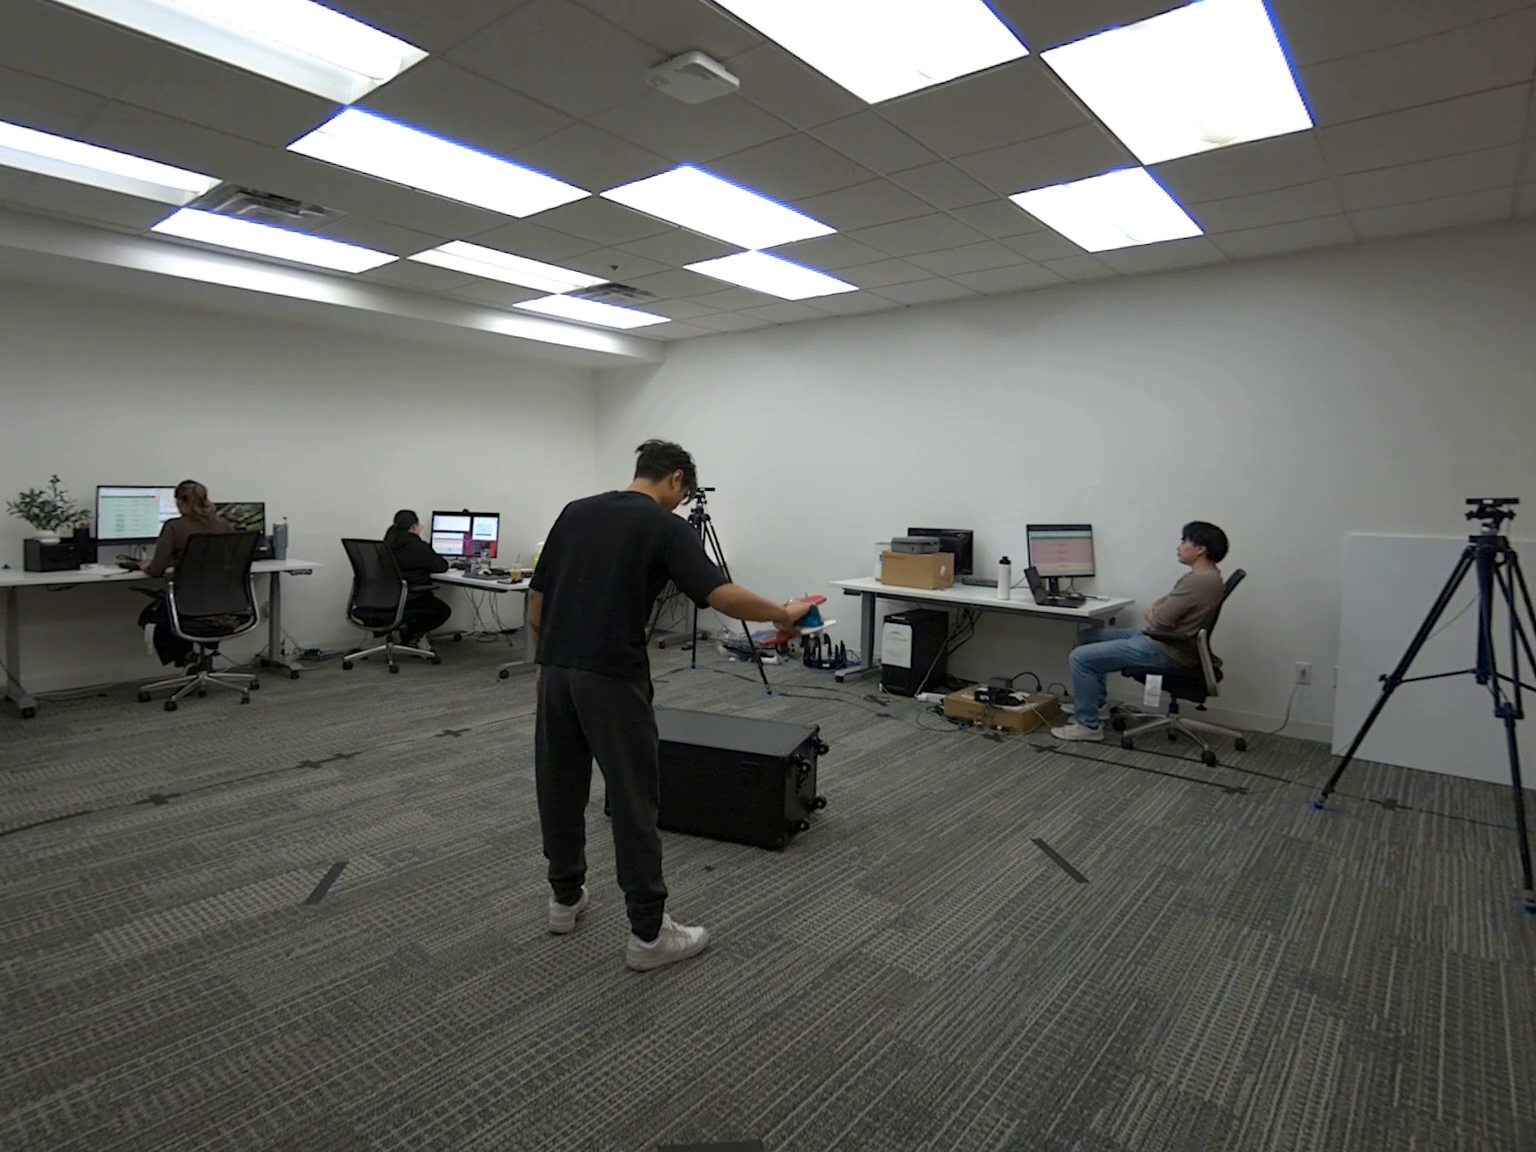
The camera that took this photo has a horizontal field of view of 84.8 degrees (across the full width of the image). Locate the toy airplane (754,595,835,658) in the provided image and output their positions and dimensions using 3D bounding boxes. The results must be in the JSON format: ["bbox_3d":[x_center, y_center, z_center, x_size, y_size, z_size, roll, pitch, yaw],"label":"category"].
[{"bbox_3d":[0.103,0.158,2.657,0.264,0.157,0.245,-21,-3,36],"label":"toy airplane"}]
